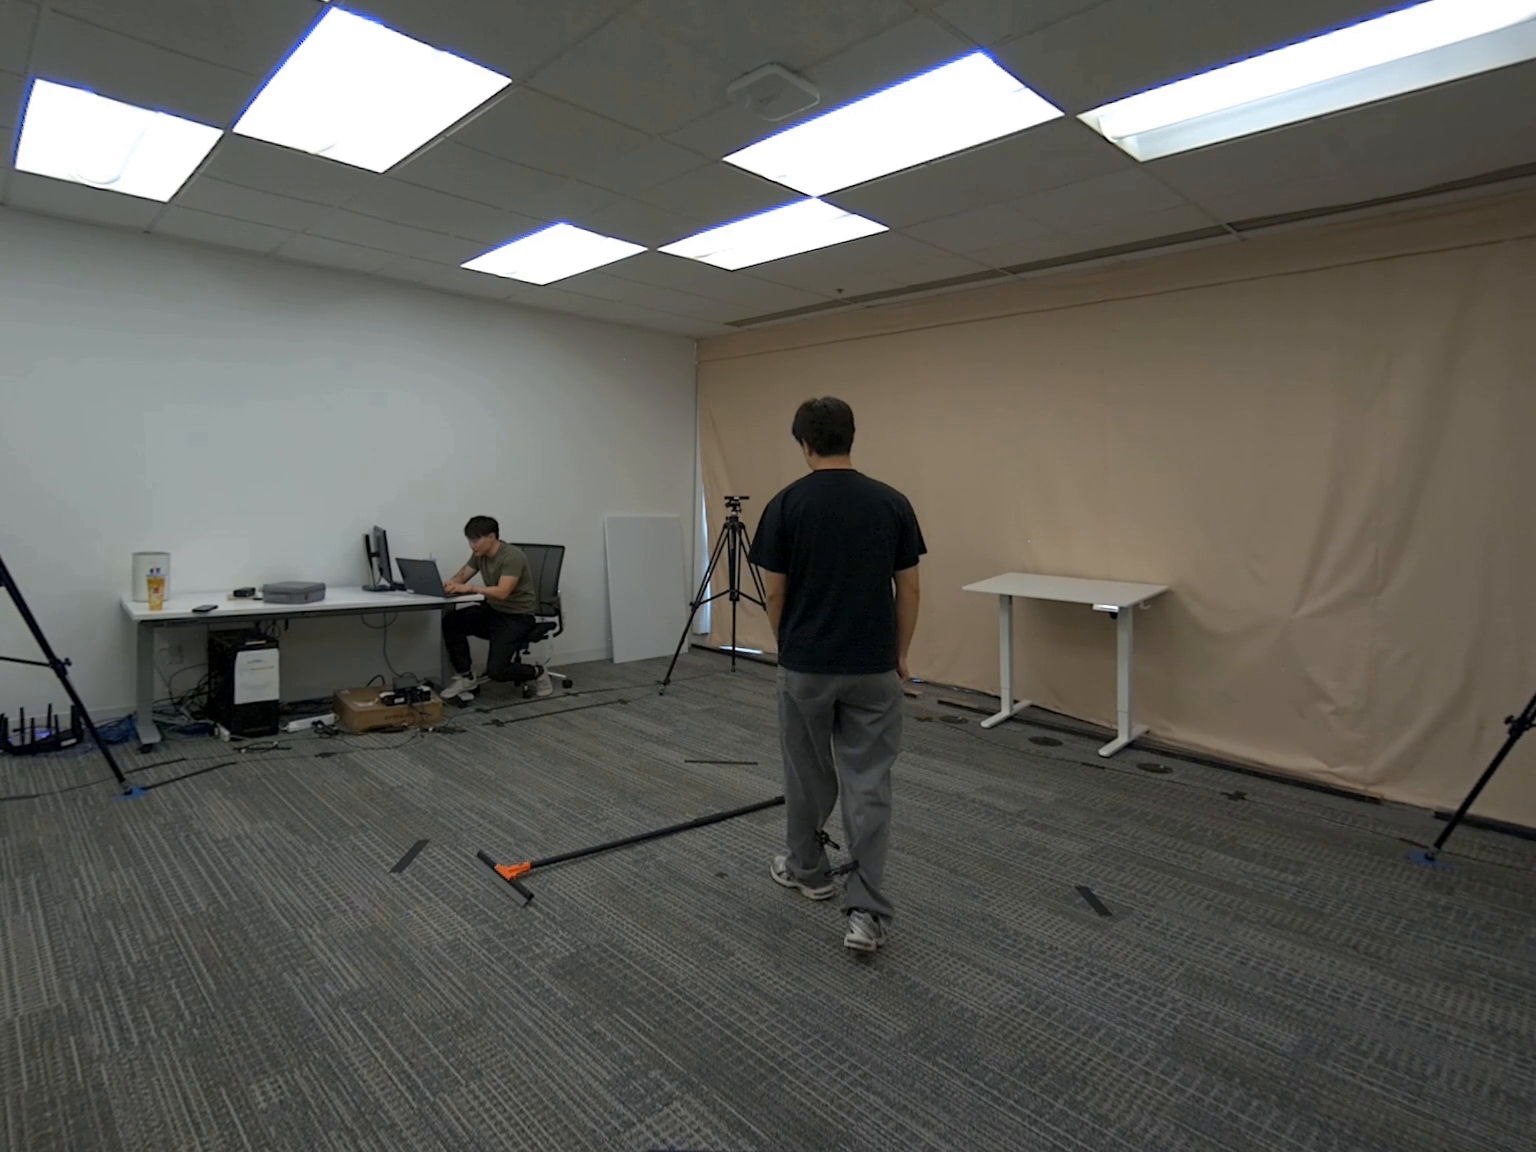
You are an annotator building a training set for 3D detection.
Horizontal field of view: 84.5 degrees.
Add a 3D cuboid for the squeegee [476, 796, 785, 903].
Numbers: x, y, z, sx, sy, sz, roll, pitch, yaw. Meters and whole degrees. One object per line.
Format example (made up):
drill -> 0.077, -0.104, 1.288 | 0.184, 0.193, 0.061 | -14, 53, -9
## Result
squeegee -> -0.391, 1.029, 3.461 | 1.502, 0.053, 0.449 | -2, 6, -40
